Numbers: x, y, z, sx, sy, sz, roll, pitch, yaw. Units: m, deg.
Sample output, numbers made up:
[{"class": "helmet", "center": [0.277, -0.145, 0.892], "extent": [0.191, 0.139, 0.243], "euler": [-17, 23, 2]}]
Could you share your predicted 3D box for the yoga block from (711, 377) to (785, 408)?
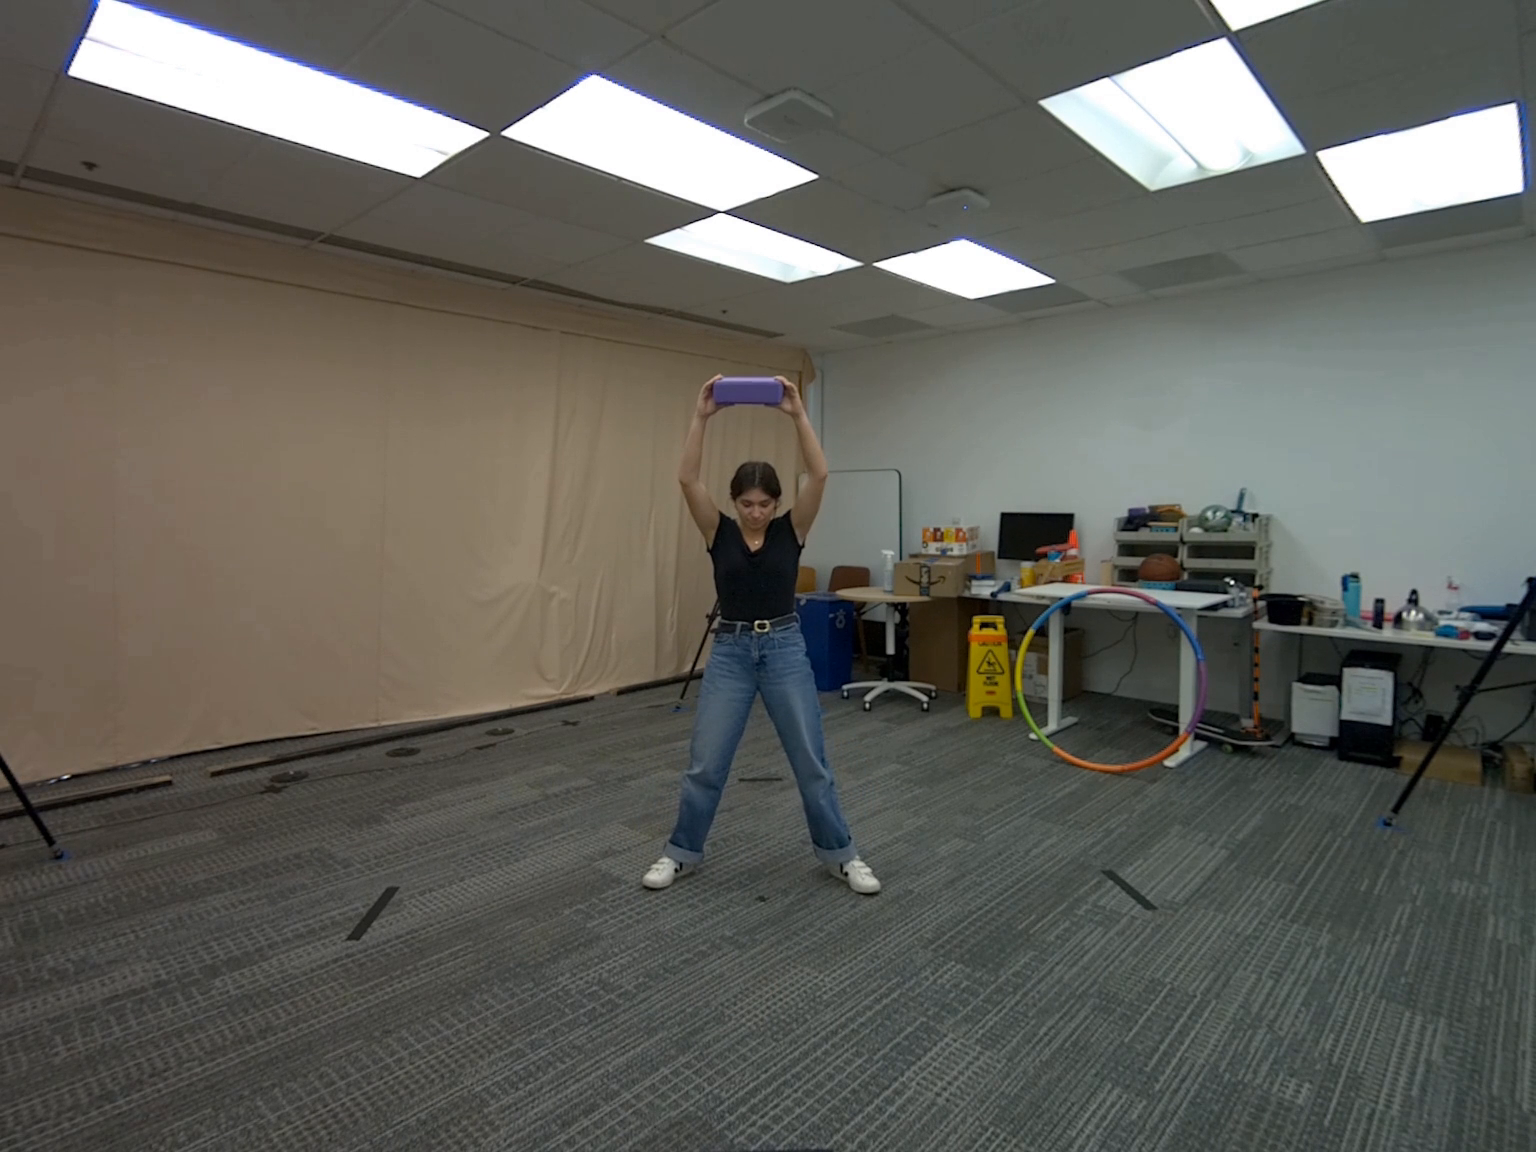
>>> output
[{"class": "yoga block", "center": [-0.057, -0.635, 2.877], "extent": [0.231, 0.075, 0.149], "euler": [3, 18, 6]}]
